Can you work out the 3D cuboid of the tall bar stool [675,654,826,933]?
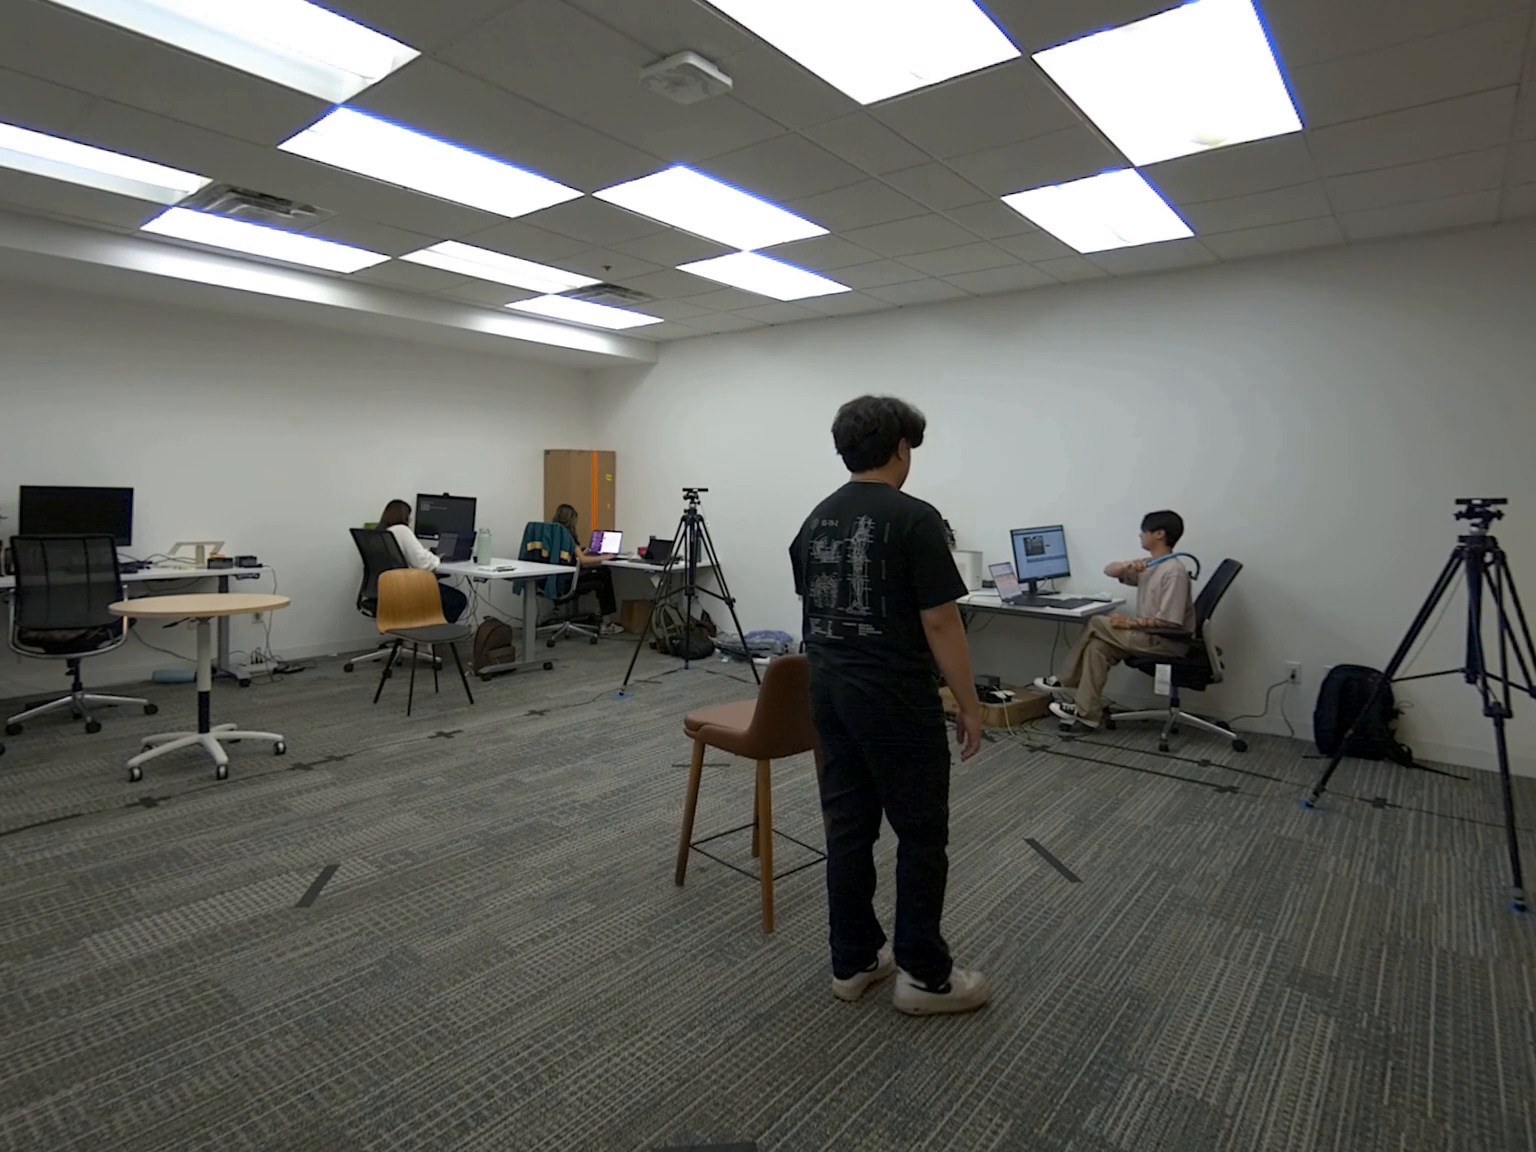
[{"bbox_3d":[-0.020,0.655,2.922,0.442,0.886,0.484,-1,6,-44],"label":"tall bar stool"}]
